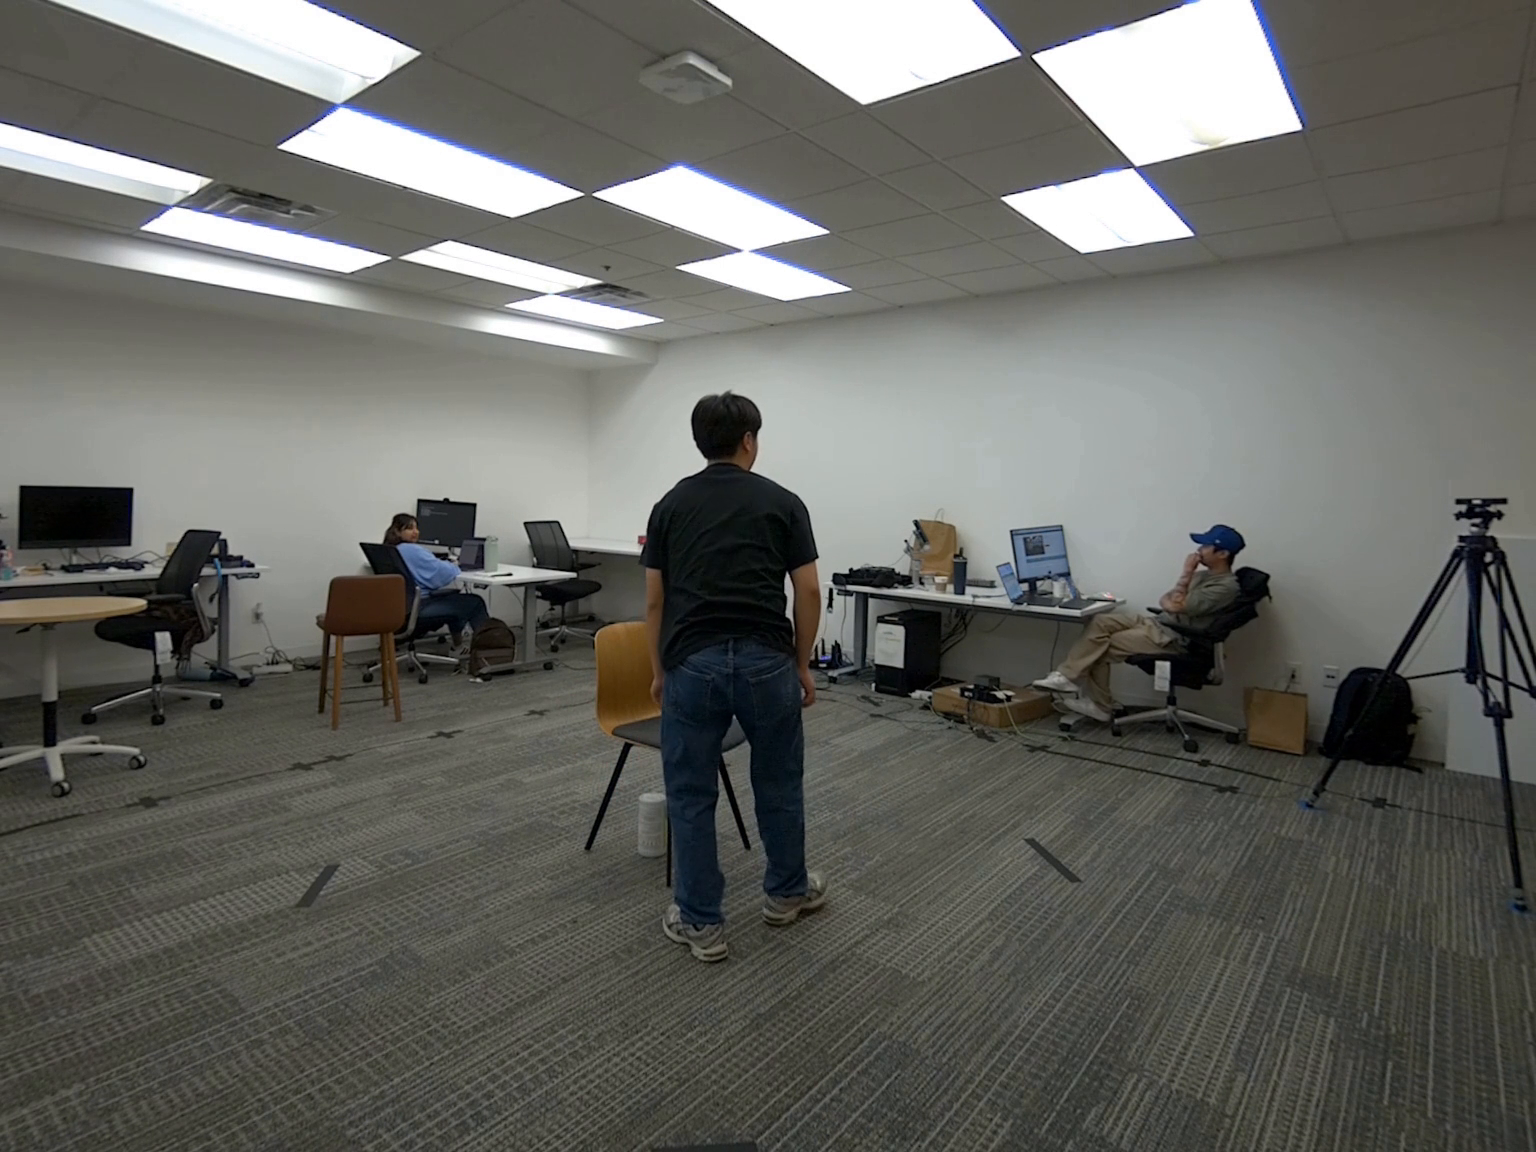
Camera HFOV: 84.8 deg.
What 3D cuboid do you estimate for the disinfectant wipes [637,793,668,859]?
[{"bbox_3d":[-0.455,0.947,3.240,0.118,0.217,0.118,1,2,-2],"label":"disinfectant wipes"}]
